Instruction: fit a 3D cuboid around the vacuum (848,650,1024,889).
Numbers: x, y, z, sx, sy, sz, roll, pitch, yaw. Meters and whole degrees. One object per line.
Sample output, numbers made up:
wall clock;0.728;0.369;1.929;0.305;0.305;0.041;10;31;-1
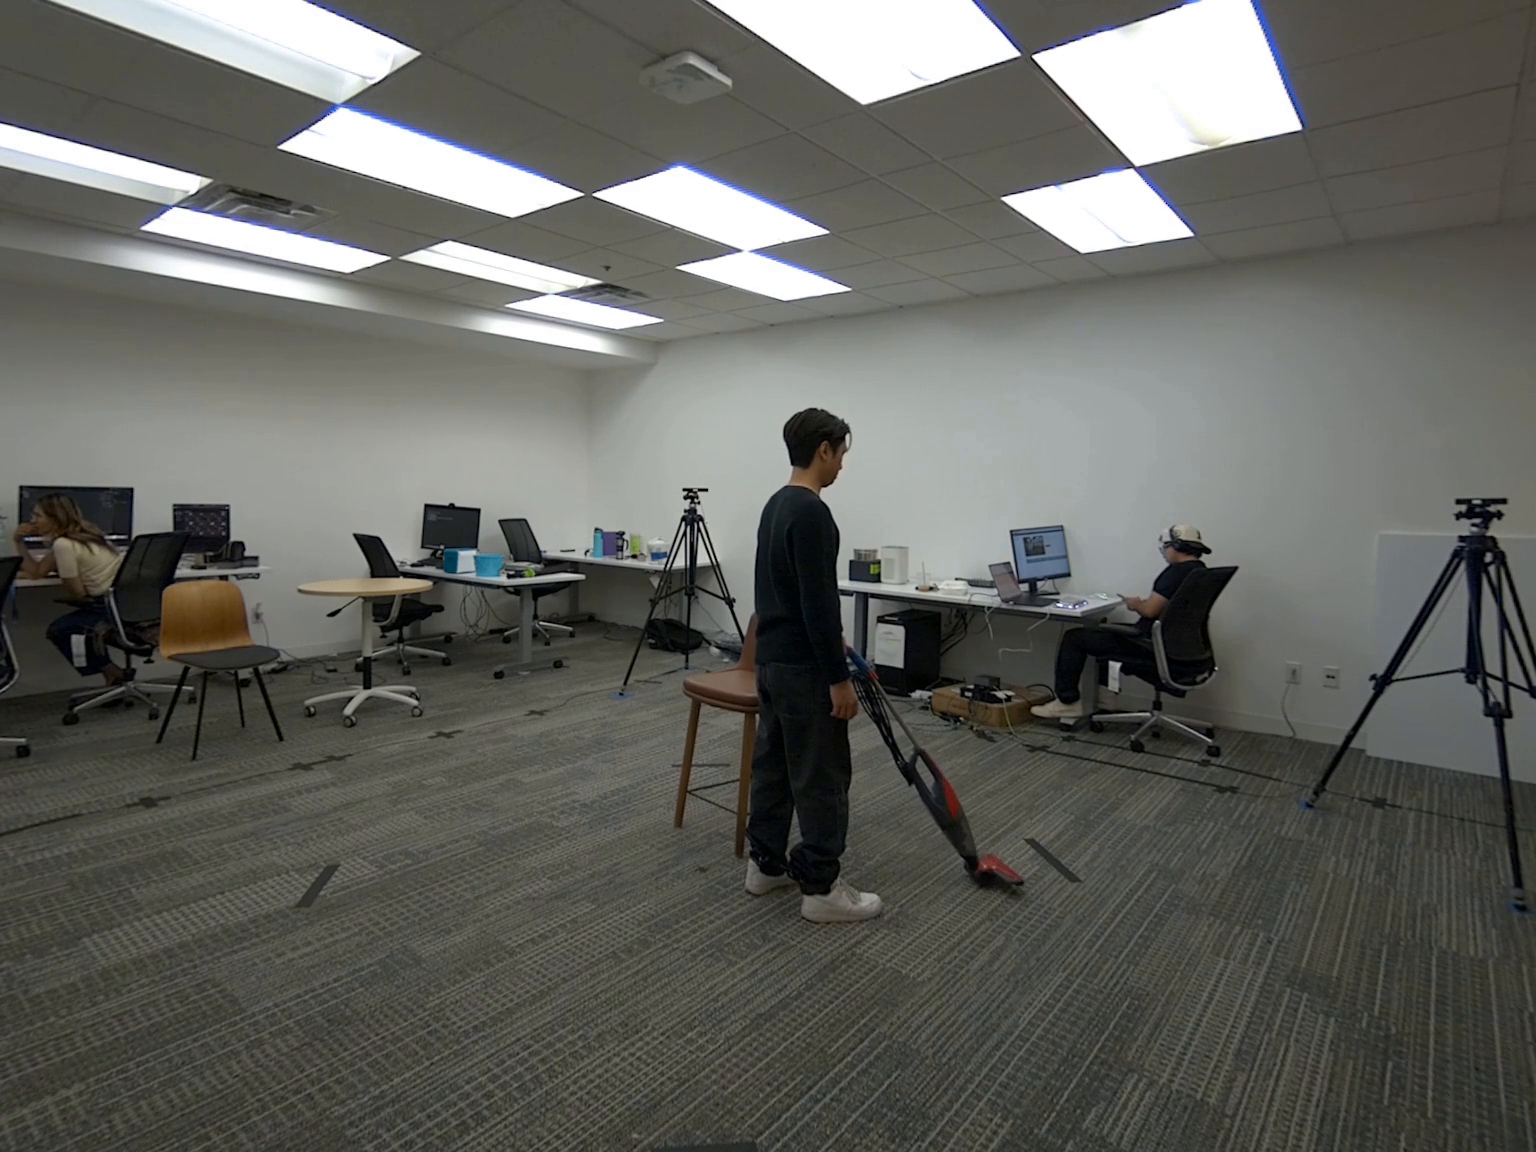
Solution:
vacuum;0.514;0.651;3.050;0.143;1.045;0.254;-35;3;-9
